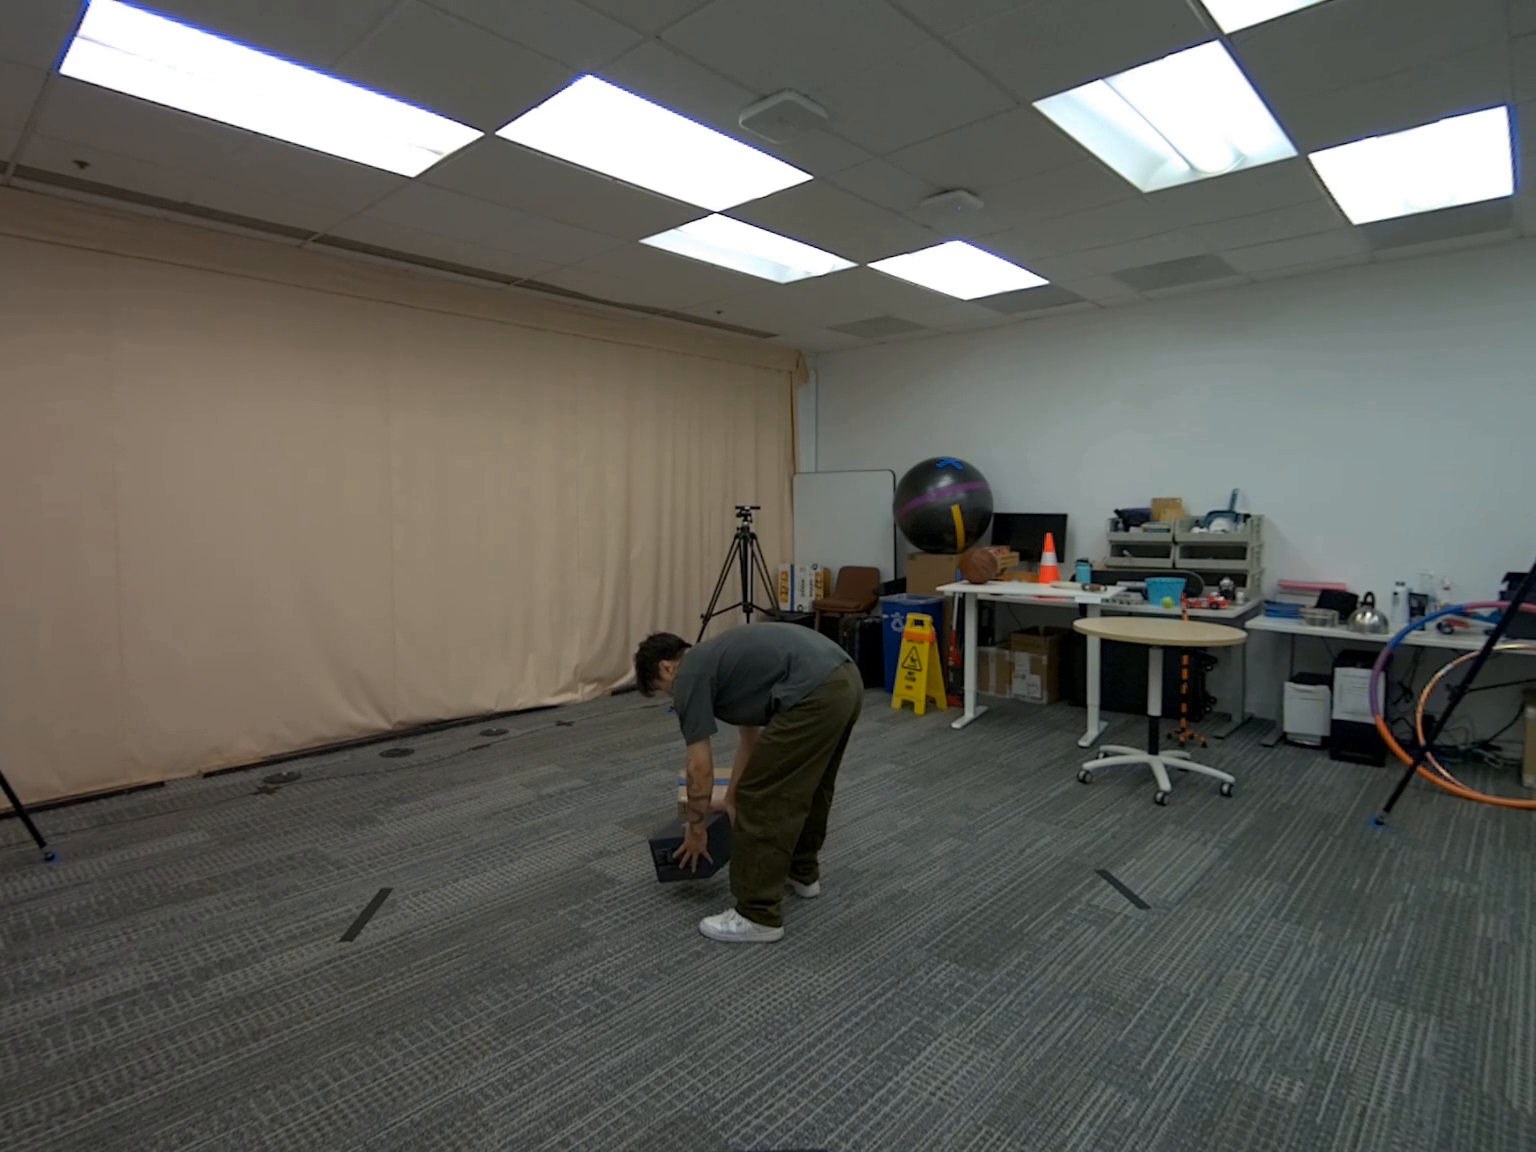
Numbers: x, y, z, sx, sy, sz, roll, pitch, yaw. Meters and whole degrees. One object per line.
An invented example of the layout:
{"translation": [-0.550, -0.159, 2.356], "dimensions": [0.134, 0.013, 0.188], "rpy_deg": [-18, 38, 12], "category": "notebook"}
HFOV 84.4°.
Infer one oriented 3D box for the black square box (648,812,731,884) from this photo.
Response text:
{"translation": [-0.268, 0.977, 3.037], "dimensions": [0.221, 0.156, 0.223], "rpy_deg": [-15, 1, 25], "category": "black square box"}
